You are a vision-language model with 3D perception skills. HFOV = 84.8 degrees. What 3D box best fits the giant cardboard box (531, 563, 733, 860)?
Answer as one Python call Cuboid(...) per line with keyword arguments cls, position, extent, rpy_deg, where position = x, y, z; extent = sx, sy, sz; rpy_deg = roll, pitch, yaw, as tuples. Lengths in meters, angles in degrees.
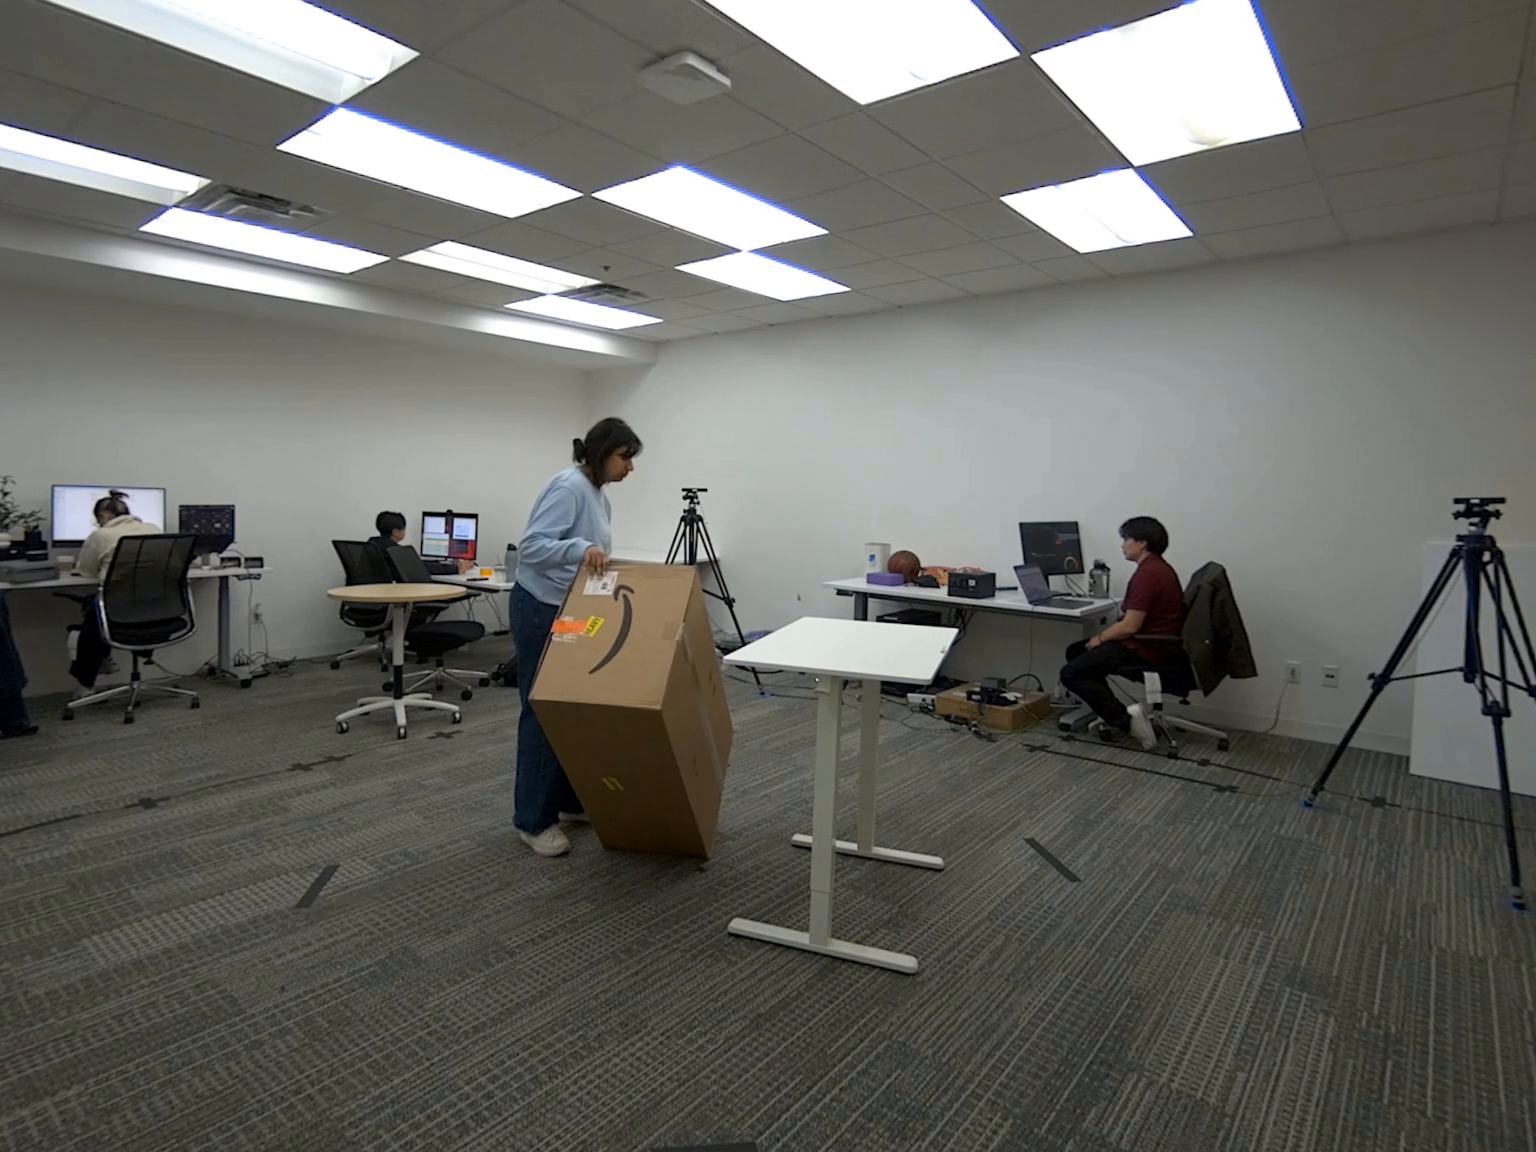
Cuboid(cls="giant cardboard box", position=(-0.450, 0.505, 3.075), extent=(0.431, 0.992, 0.590), rpy_deg=(2, 47, 9))
